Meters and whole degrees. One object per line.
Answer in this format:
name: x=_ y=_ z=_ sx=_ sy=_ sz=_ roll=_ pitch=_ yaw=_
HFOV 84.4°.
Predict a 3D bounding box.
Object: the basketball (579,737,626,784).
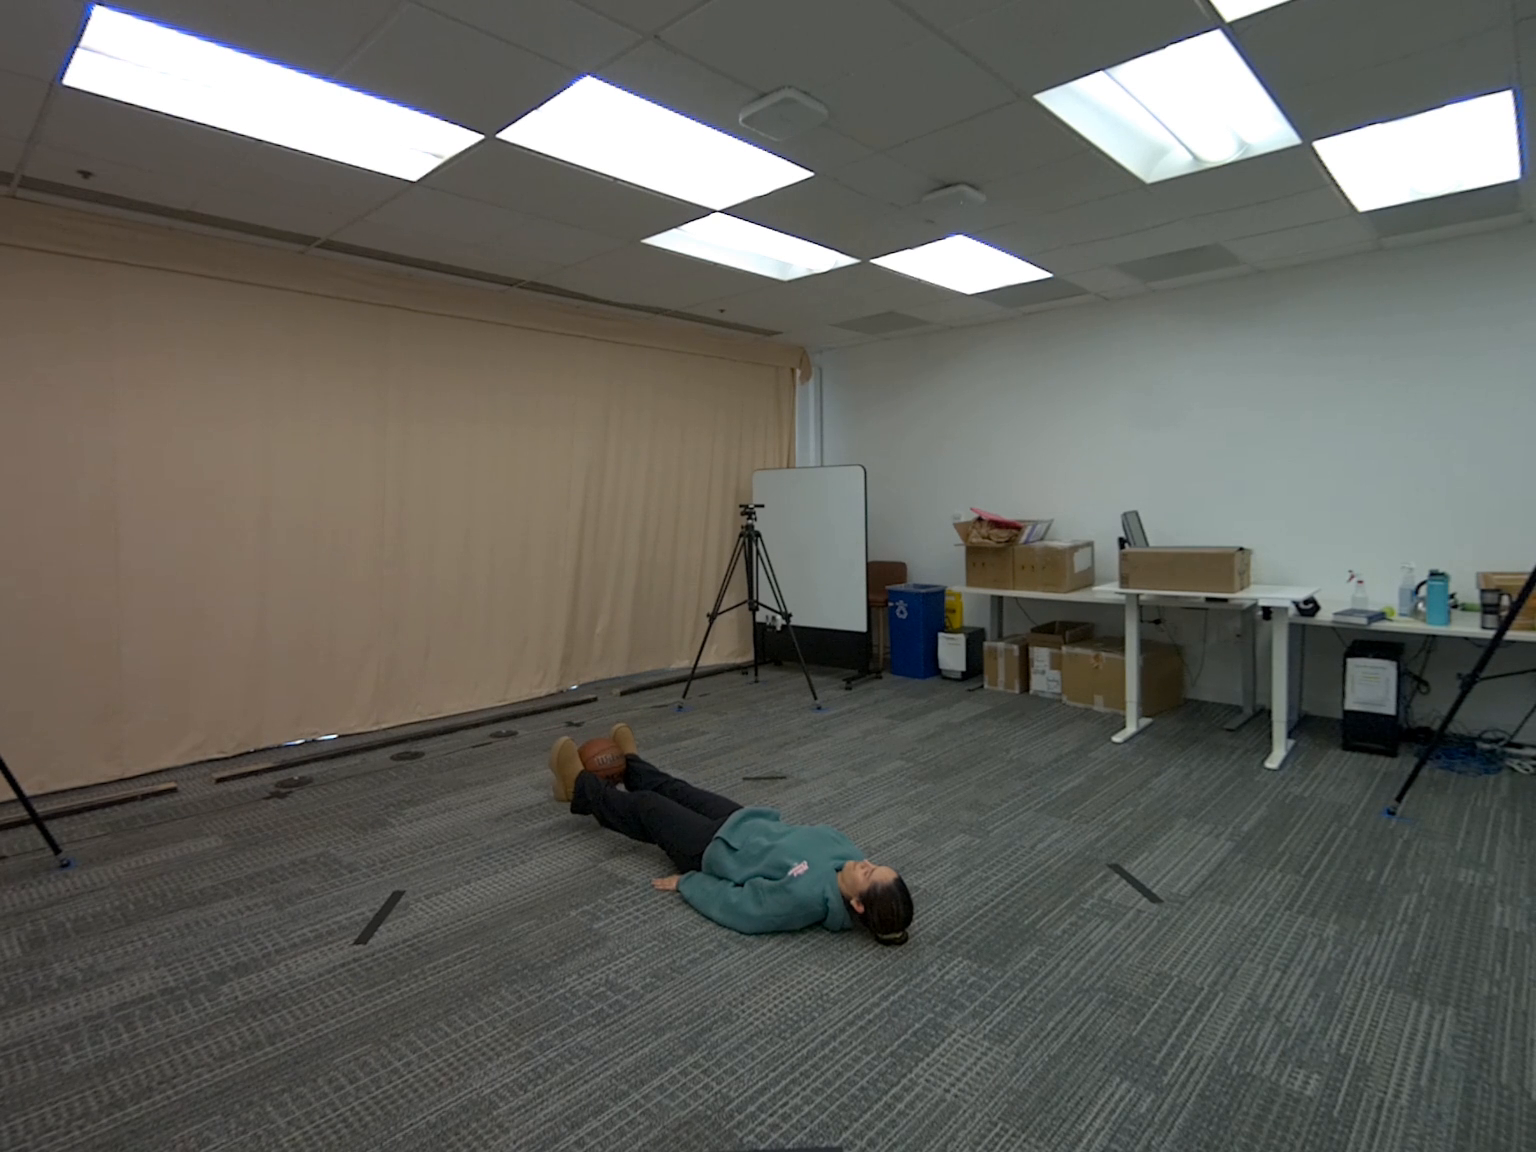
basketball: x=-0.749 y=0.840 z=3.732 sx=0.236 sy=0.235 sz=0.237 roll=0 pitch=4 yaw=-2
